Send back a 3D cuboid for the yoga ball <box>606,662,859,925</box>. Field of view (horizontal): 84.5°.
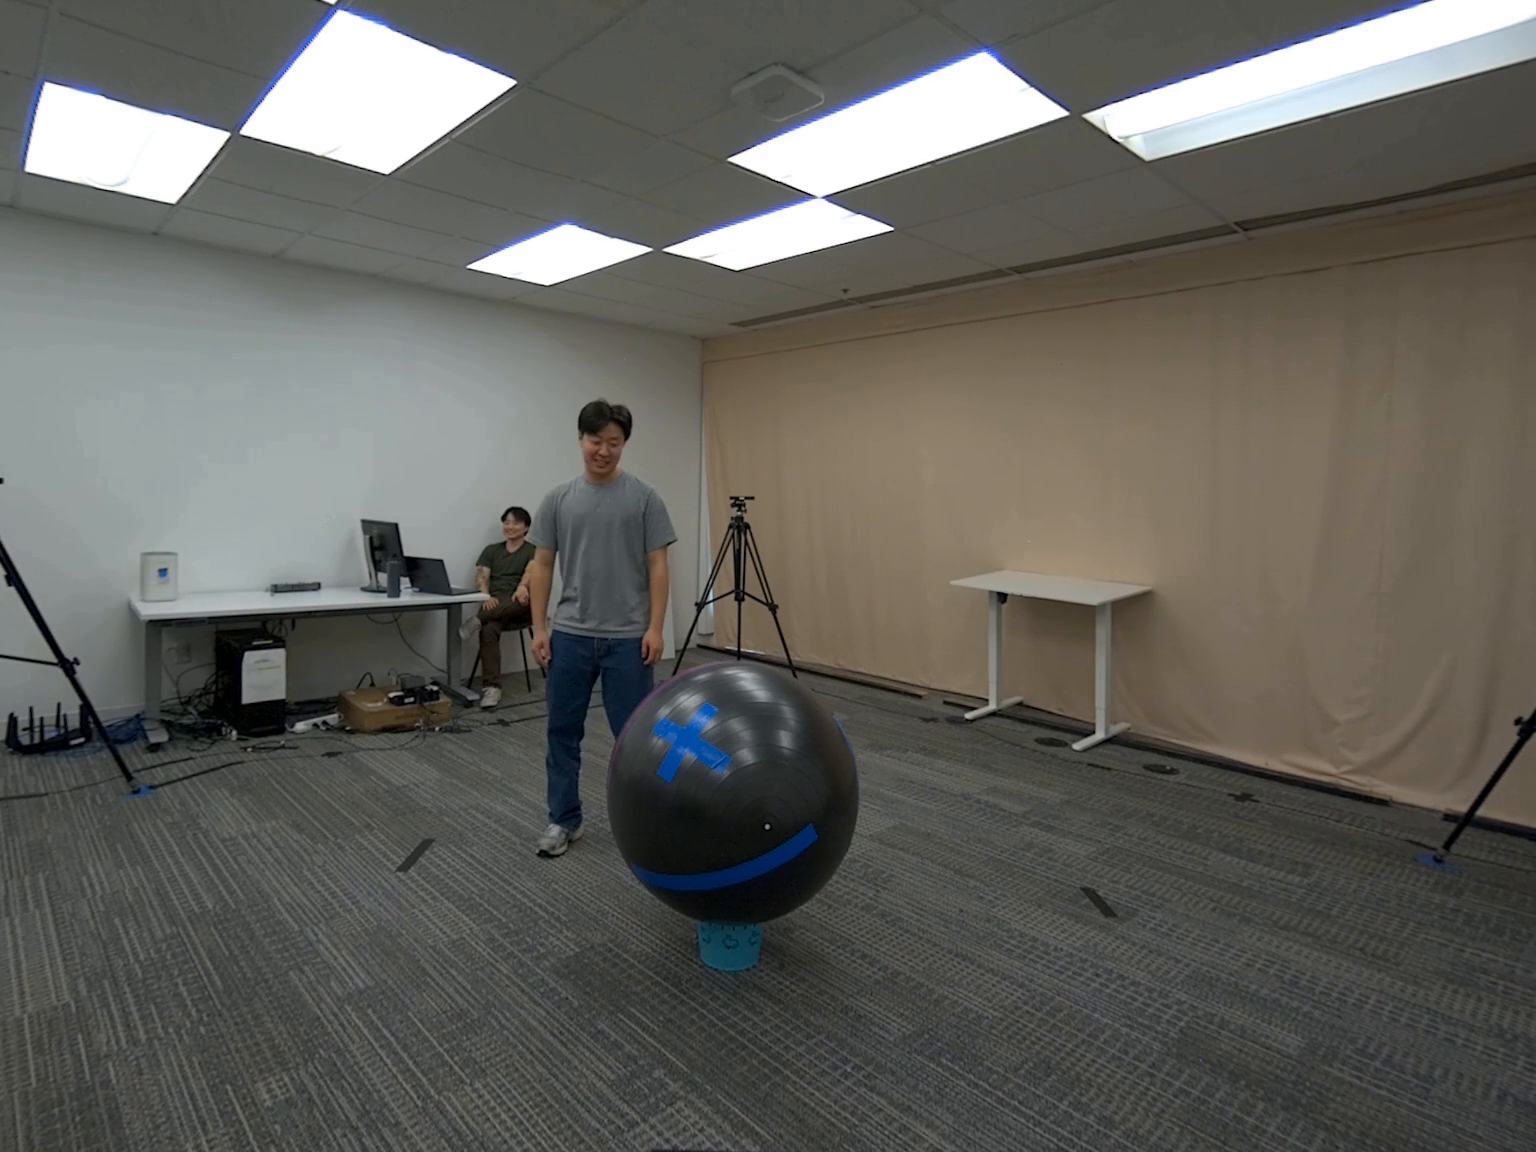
[{"bbox_3d":[-0.108,0.644,2.541,0.757,0.756,0.761,1,4,-1],"label":"yoga ball"}]
